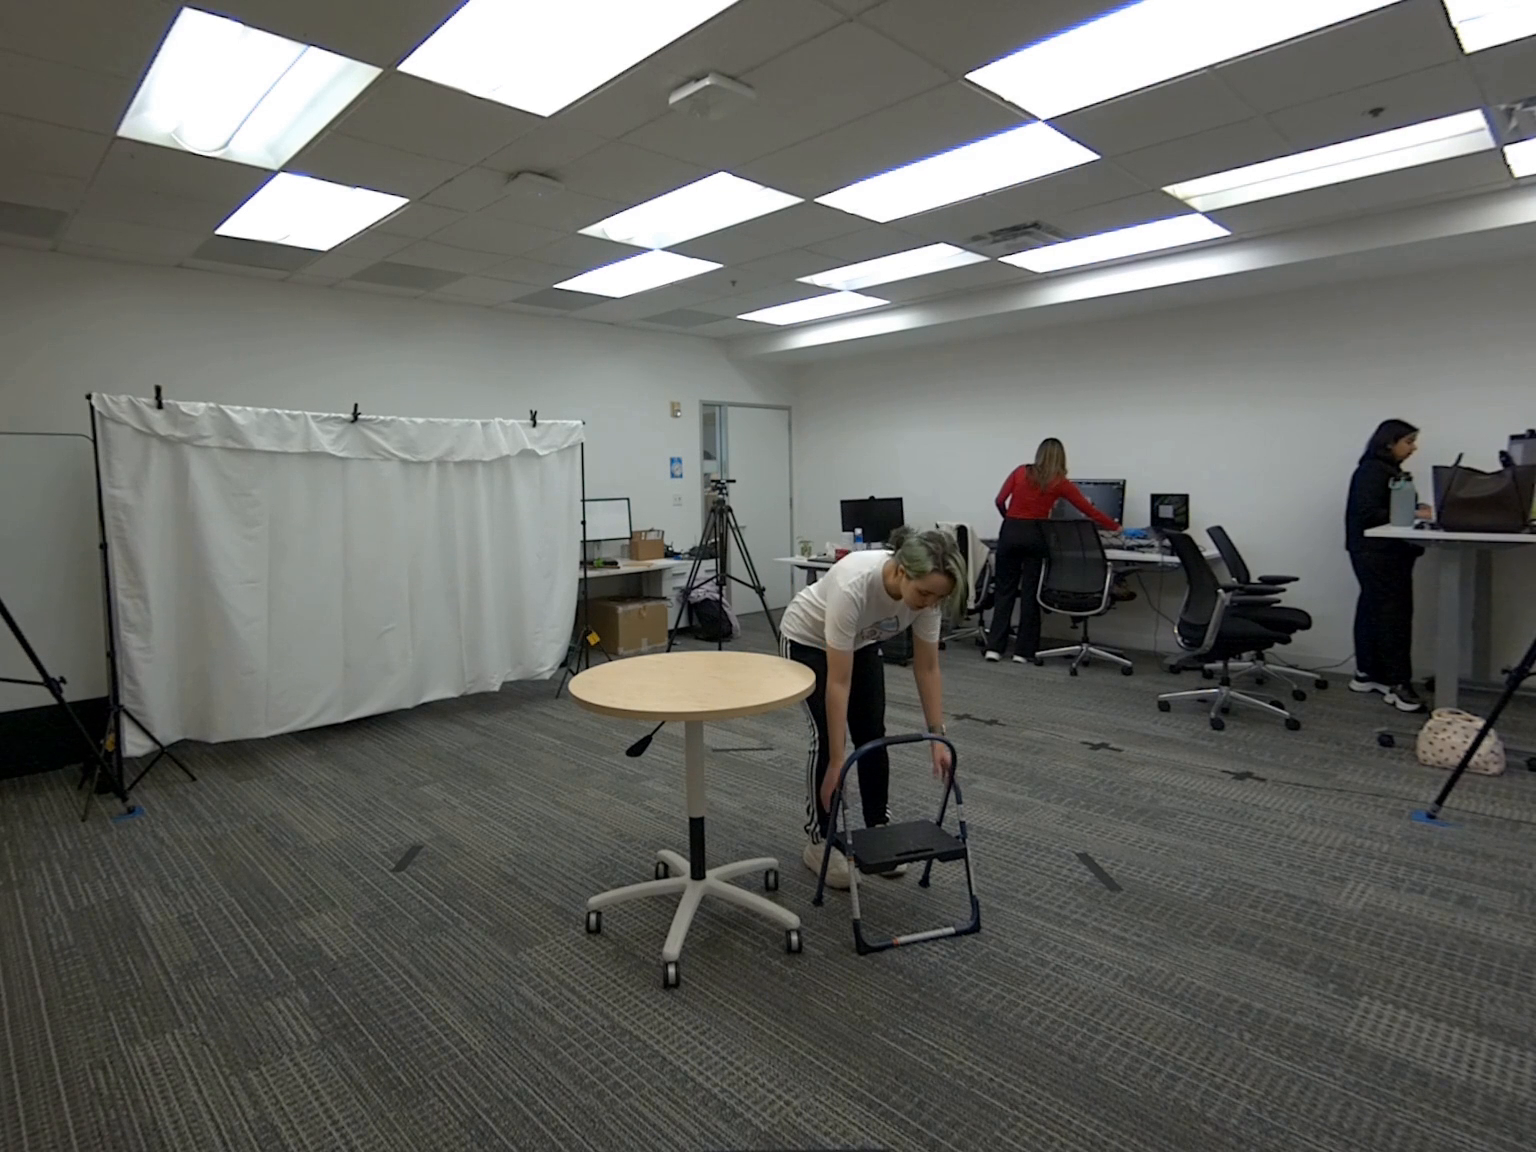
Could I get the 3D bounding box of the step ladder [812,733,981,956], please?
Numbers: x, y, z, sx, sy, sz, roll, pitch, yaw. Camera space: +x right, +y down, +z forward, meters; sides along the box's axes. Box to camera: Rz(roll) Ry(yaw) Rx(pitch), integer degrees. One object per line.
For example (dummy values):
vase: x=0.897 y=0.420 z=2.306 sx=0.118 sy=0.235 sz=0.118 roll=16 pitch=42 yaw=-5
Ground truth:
step ladder: x=0.400 y=0.787 z=2.699 sx=0.423 sy=0.603 sz=0.357 roll=-3 pitch=5 yaw=-19
